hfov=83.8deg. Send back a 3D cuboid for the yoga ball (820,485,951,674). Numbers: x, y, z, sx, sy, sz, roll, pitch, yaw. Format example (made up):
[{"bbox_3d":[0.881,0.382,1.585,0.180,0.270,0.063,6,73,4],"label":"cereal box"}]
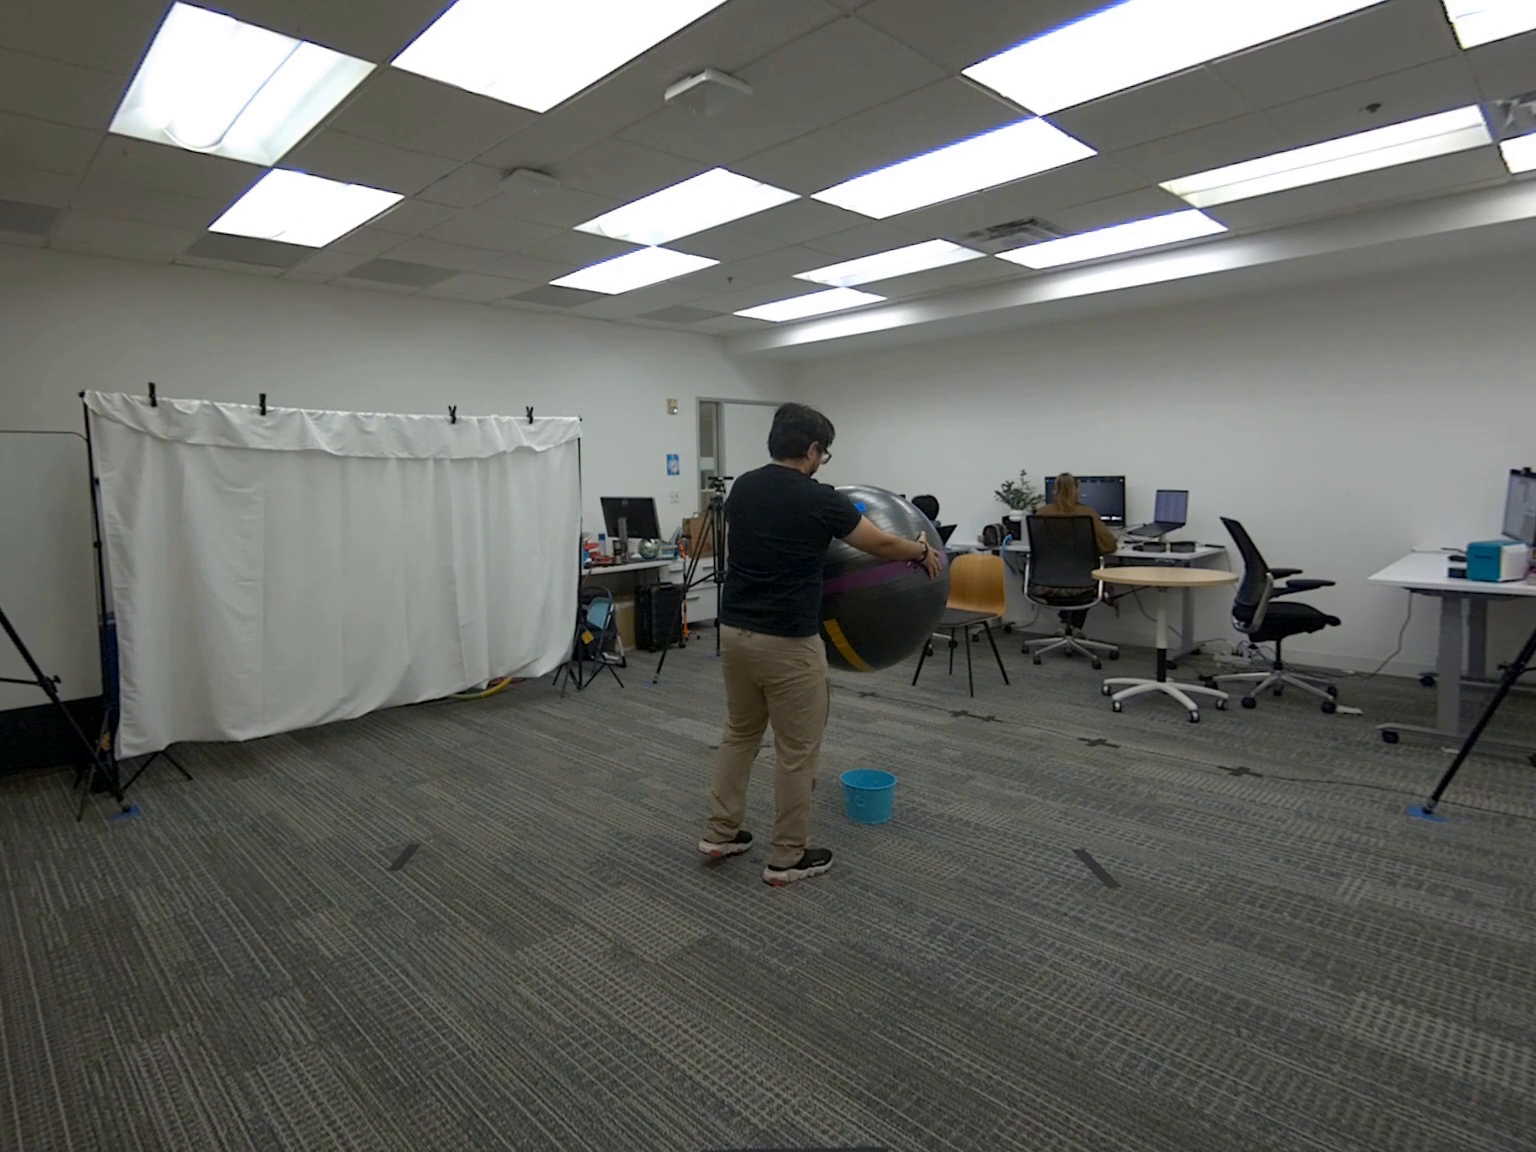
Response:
[{"bbox_3d":[0.360,0.015,3.502,0.757,0.755,0.762,-1,5,-2],"label":"yoga ball"}]
